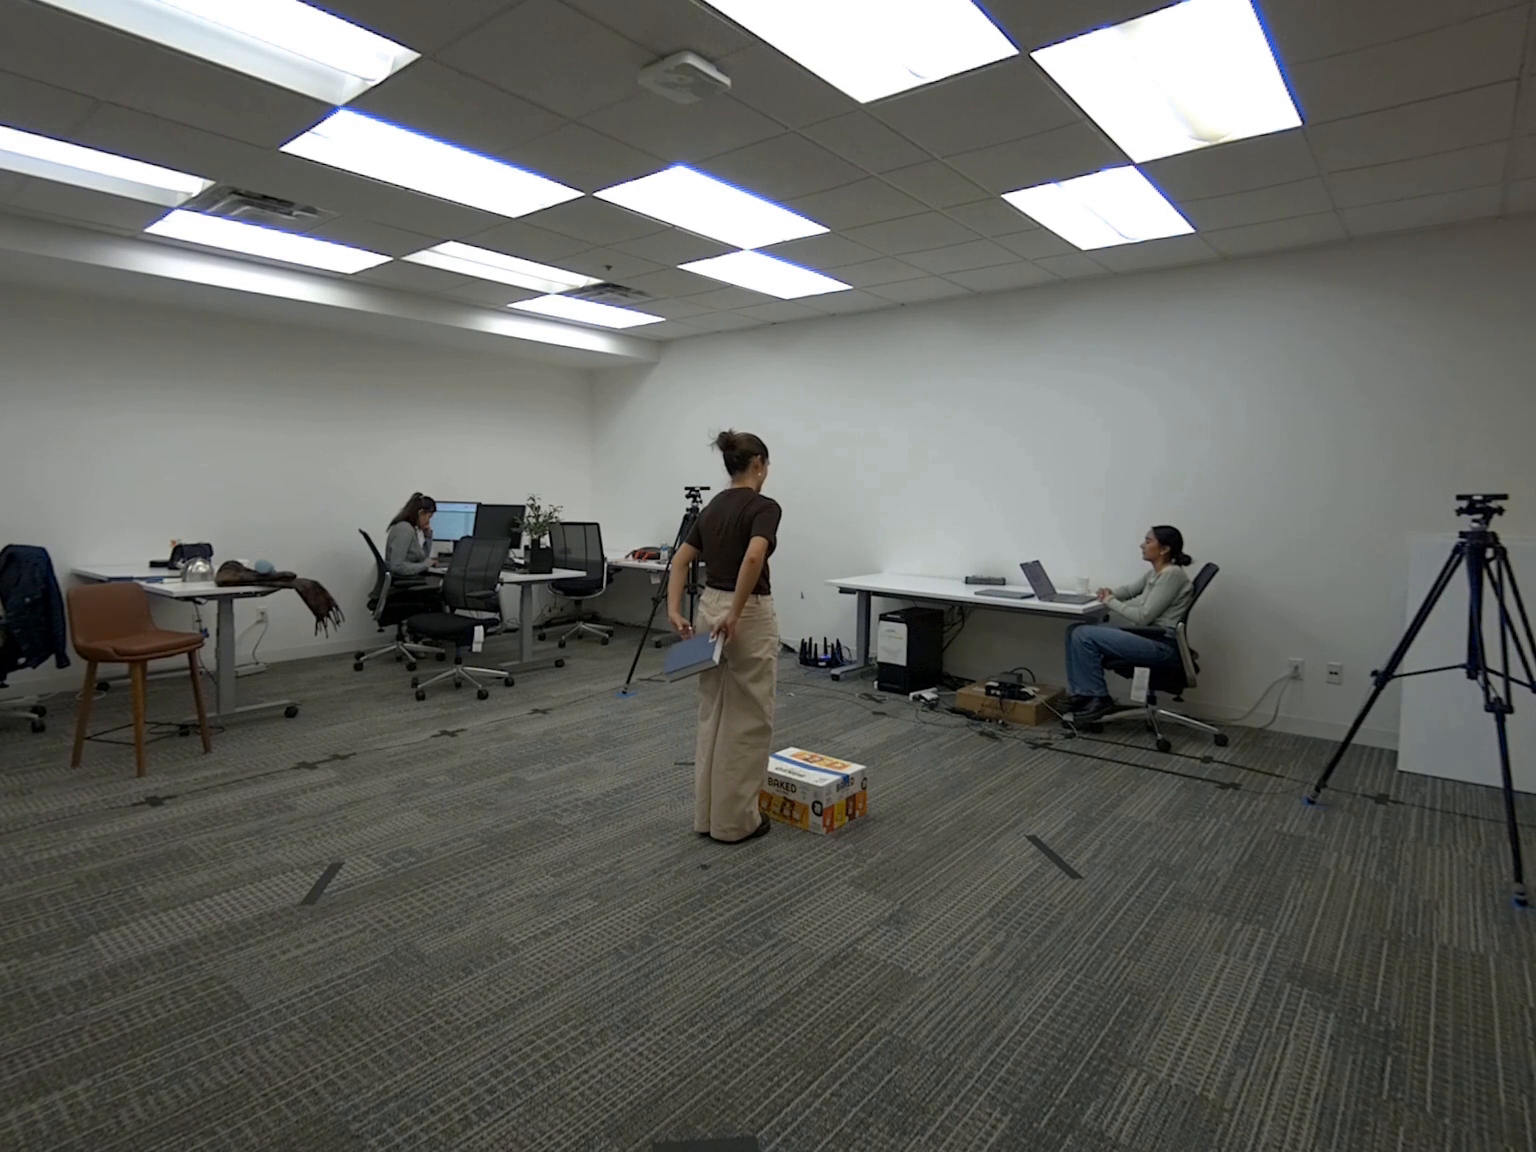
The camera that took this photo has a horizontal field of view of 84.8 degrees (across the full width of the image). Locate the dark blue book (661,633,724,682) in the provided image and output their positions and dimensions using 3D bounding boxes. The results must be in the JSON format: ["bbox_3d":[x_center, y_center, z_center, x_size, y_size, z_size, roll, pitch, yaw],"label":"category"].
[{"bbox_3d":[-0.281,0.296,3.222,0.249,0.044,0.166,-25,30,33],"label":"dark blue book"}]
